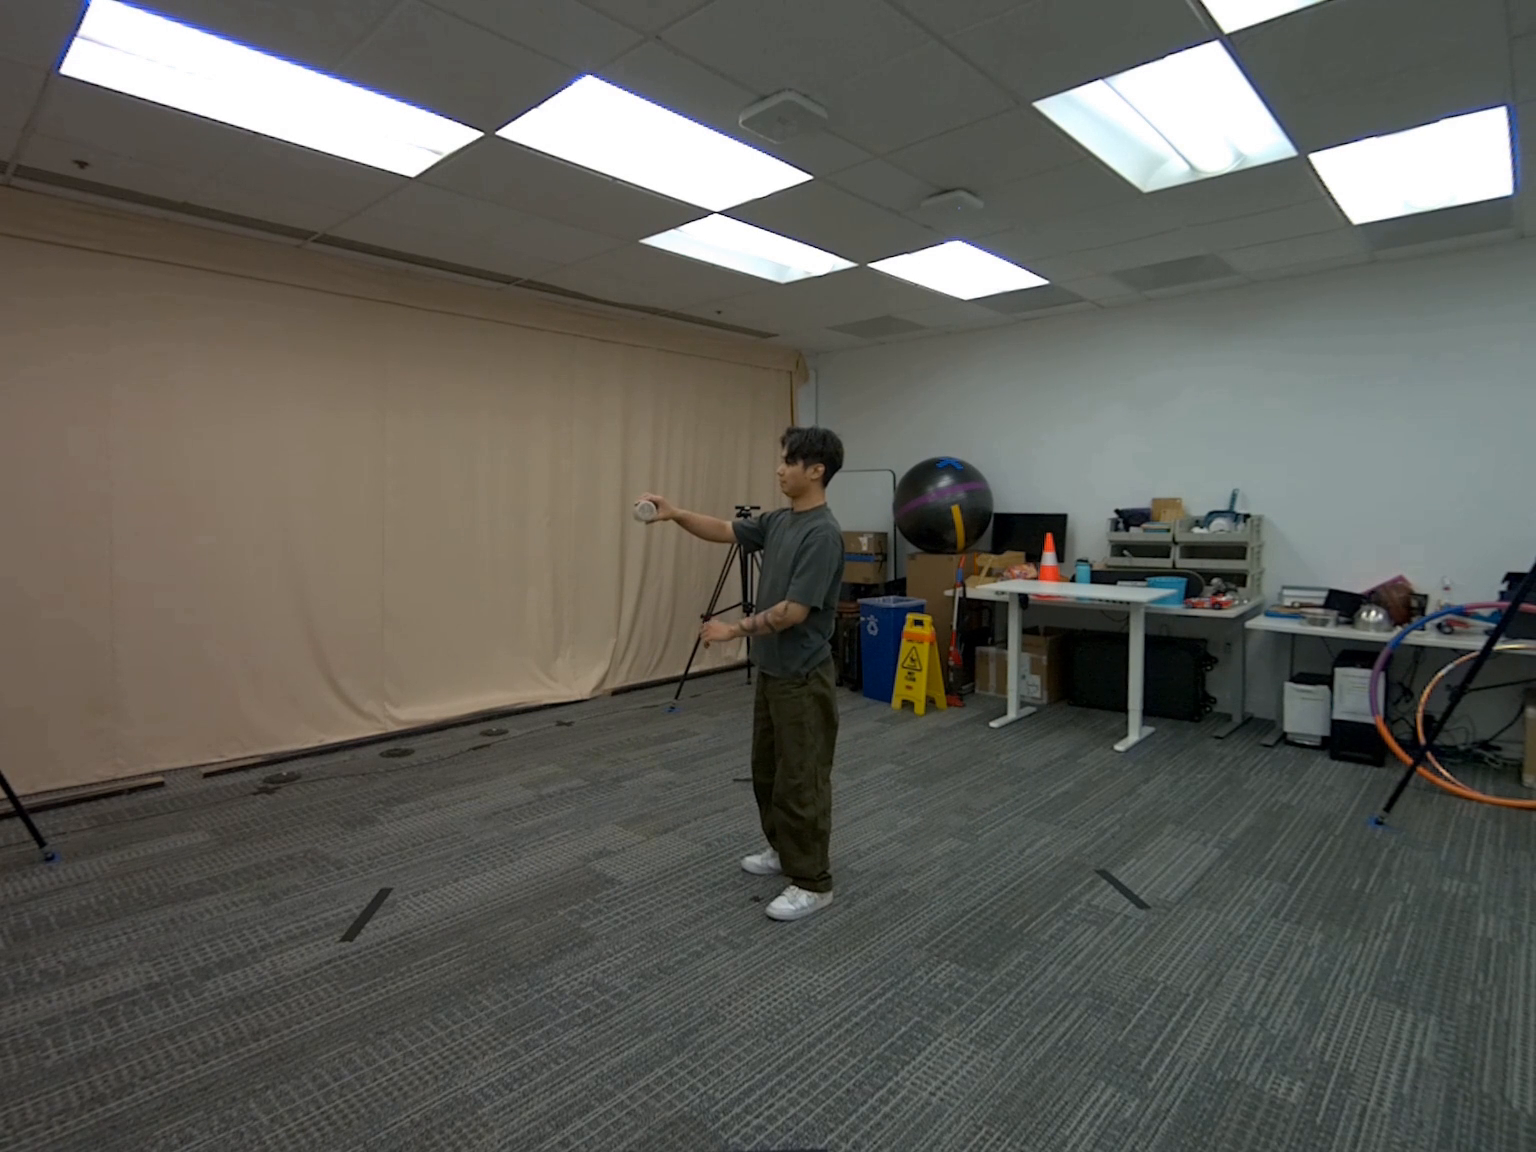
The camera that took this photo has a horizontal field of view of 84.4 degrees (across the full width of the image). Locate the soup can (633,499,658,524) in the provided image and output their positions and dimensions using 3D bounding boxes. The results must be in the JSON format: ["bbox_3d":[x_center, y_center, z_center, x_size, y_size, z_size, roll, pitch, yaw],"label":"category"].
[{"bbox_3d":[-0.443,-0.227,2.991,0.066,0.067,0.123,-1,2,-10],"label":"soup can"}]
